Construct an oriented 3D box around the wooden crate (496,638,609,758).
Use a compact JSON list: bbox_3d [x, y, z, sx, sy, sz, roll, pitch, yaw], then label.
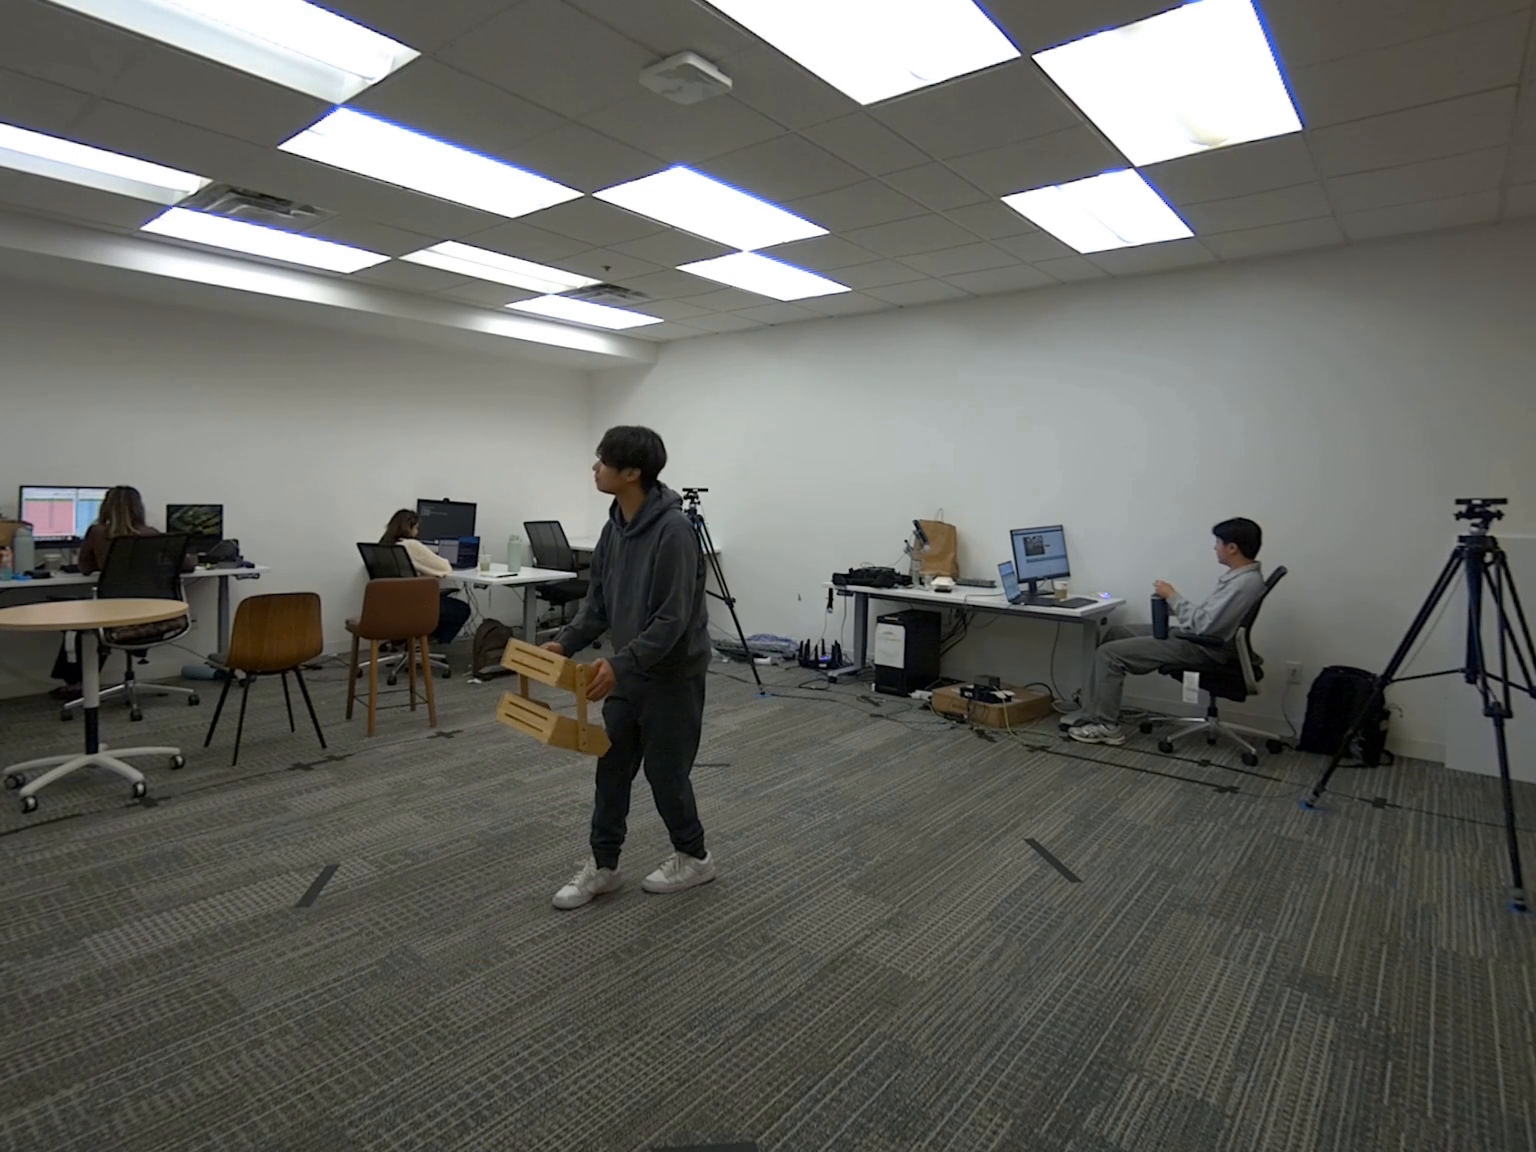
[{"bbox_3d":[-0.687,0.385,2.734,0.336,0.275,0.289,10,-12,41],"label":"wooden crate"}]
